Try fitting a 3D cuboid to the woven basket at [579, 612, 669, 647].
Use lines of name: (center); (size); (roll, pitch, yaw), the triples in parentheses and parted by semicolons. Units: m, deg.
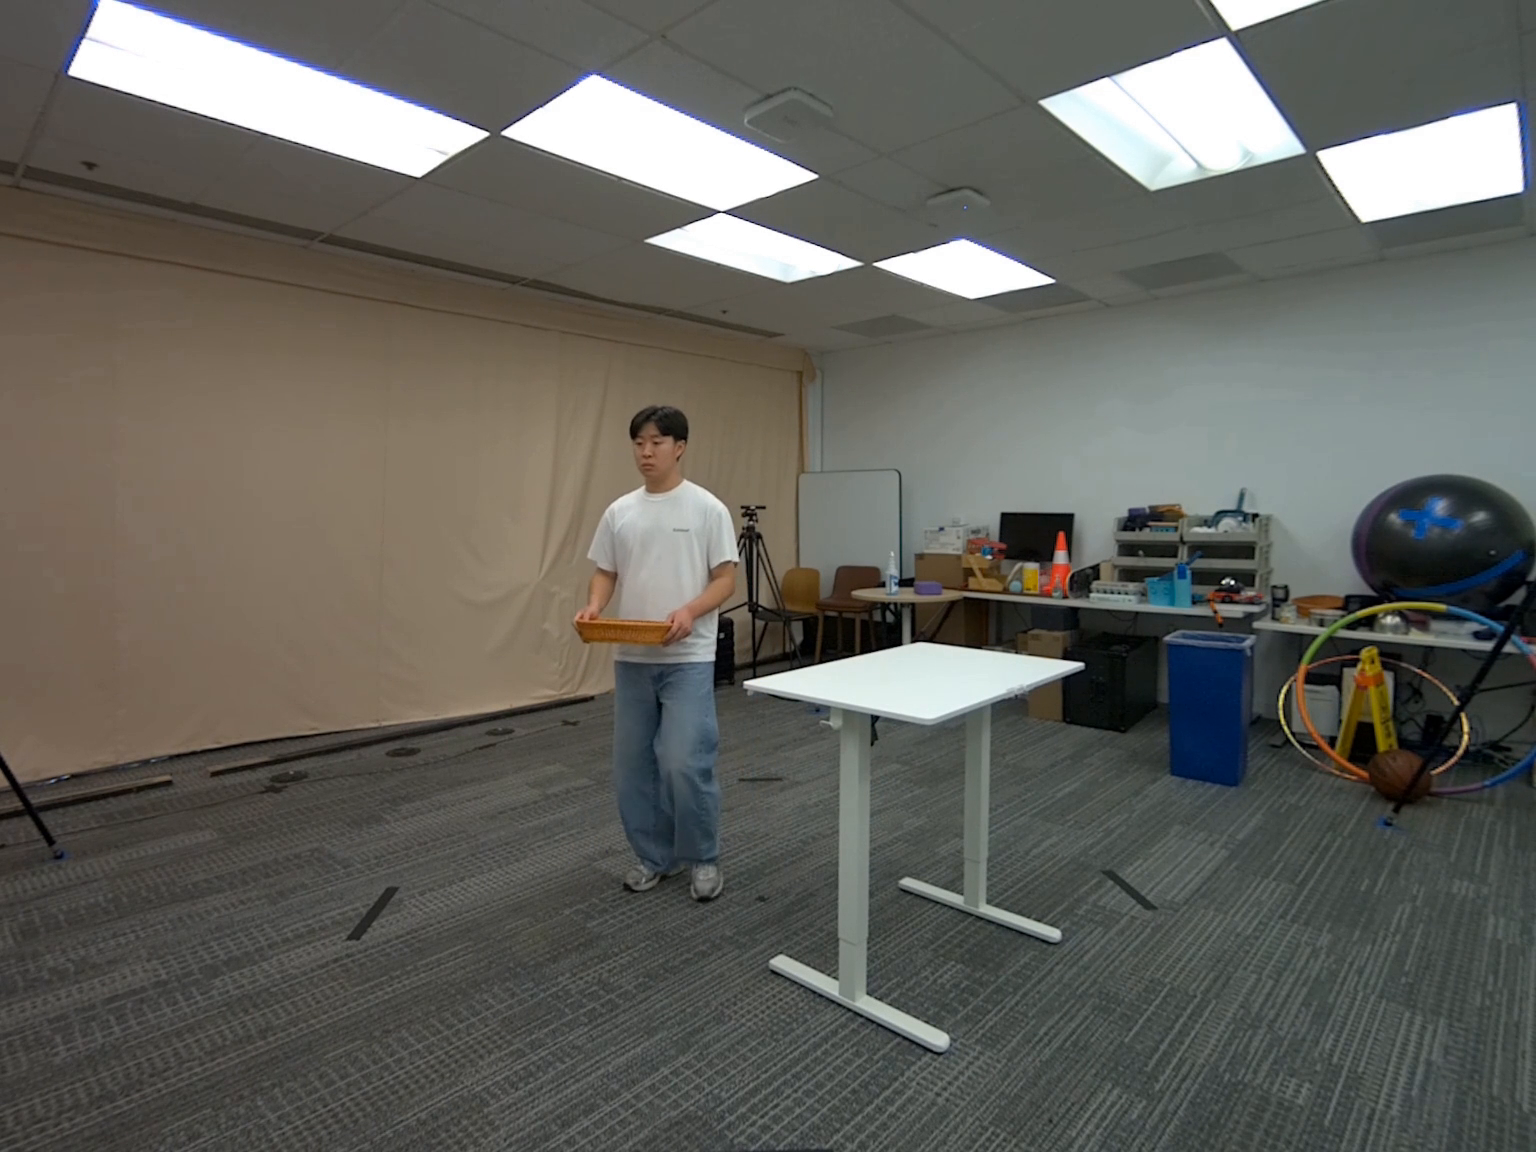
woven basket: (-0.429, 0.175, 2.838); (0.244, 0.073, 0.362); (-2, 4, -43)
